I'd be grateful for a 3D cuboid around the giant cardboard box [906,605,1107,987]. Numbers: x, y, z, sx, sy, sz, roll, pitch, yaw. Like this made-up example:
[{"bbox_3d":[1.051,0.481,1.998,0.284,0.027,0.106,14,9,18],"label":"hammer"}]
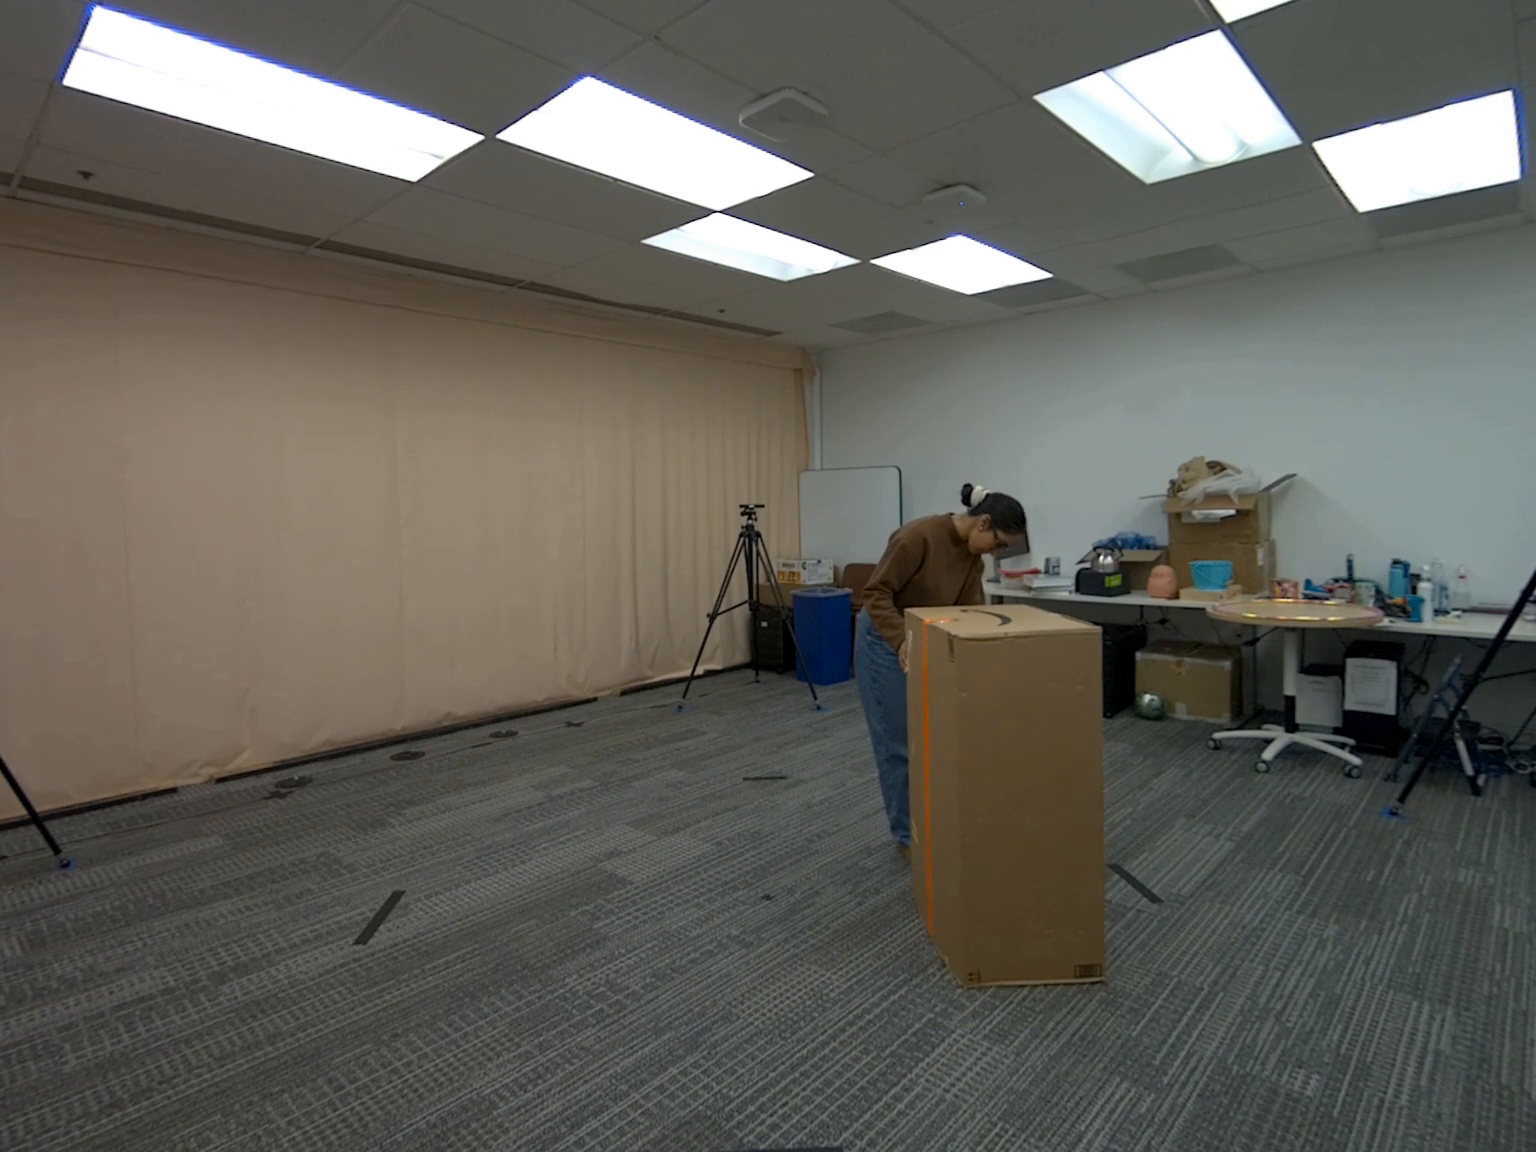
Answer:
[{"bbox_3d":[0.722,0.638,2.659,0.426,1.023,0.580,-2,4,-2],"label":"giant cardboard box"}]
